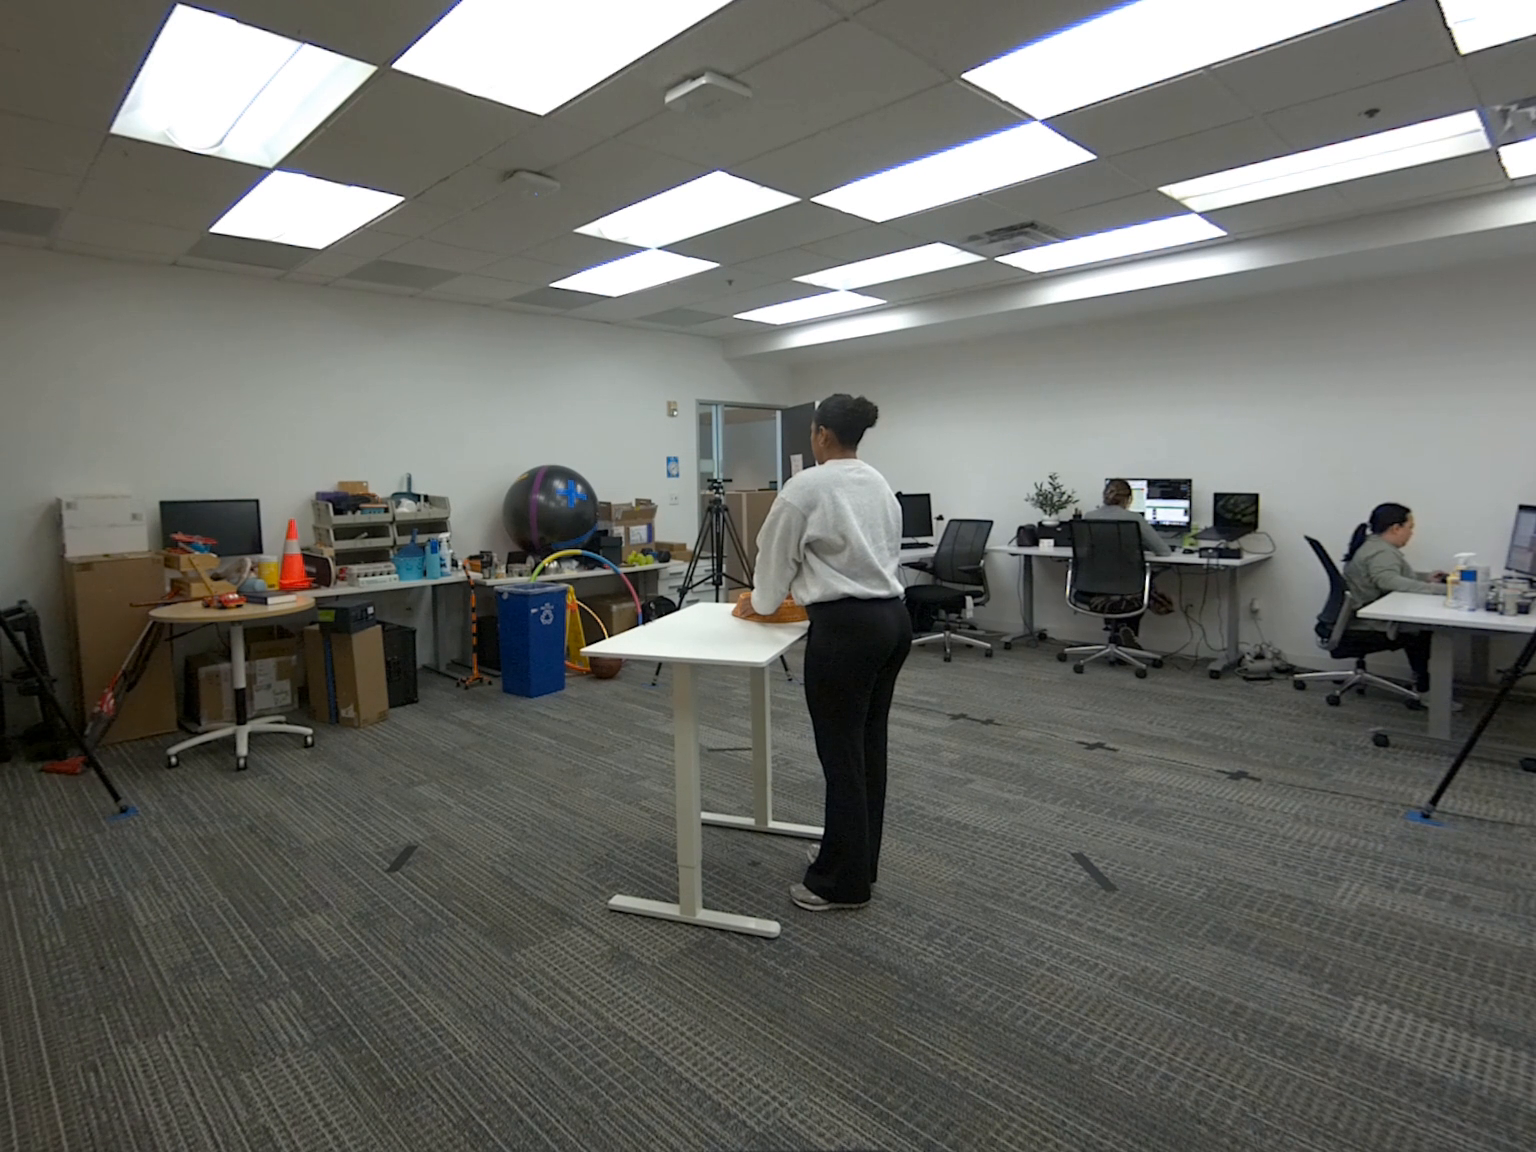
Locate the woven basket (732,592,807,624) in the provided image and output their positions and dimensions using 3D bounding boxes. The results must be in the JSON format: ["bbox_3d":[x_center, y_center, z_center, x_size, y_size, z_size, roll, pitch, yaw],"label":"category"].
[{"bbox_3d":[0.009,0.117,3.194,0.248,0.073,0.358,-4,7,-20],"label":"woven basket"}]
